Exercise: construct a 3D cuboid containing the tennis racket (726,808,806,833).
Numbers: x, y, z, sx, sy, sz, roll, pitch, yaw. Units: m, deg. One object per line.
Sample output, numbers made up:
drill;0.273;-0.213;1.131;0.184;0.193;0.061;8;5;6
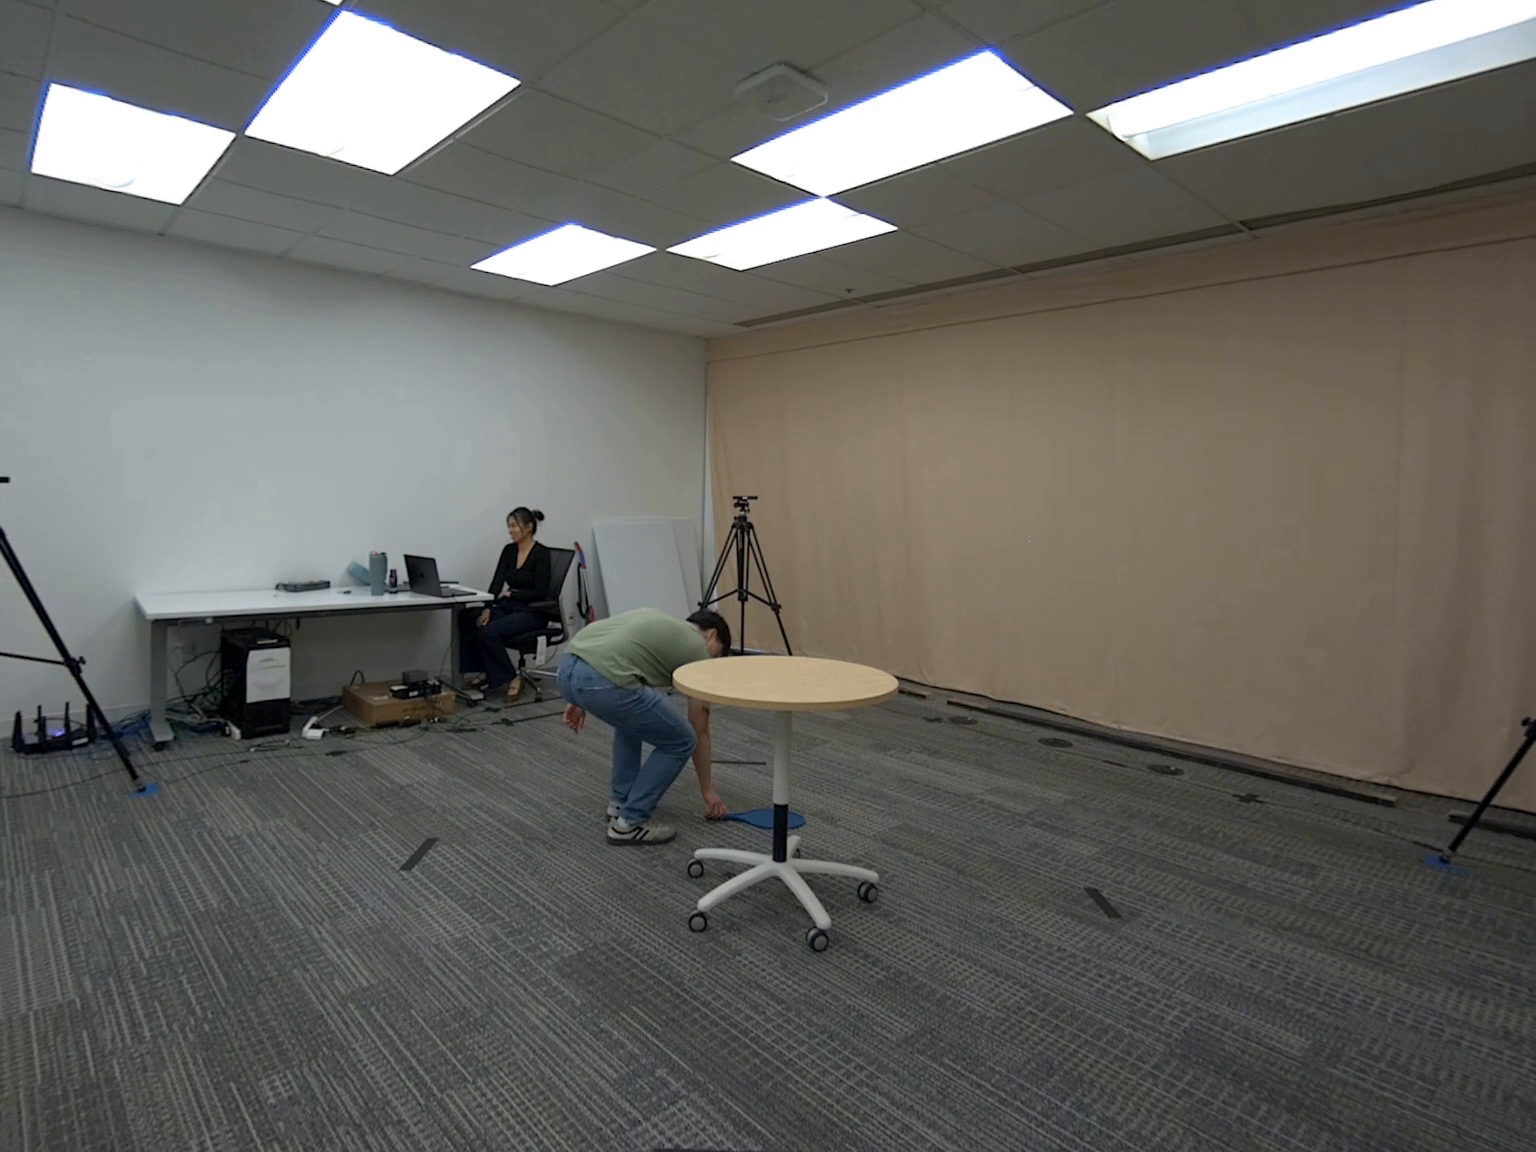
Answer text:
tennis racket;-0.066;1.043;3.642;0.432;0.031;0.215;2;5;-2
